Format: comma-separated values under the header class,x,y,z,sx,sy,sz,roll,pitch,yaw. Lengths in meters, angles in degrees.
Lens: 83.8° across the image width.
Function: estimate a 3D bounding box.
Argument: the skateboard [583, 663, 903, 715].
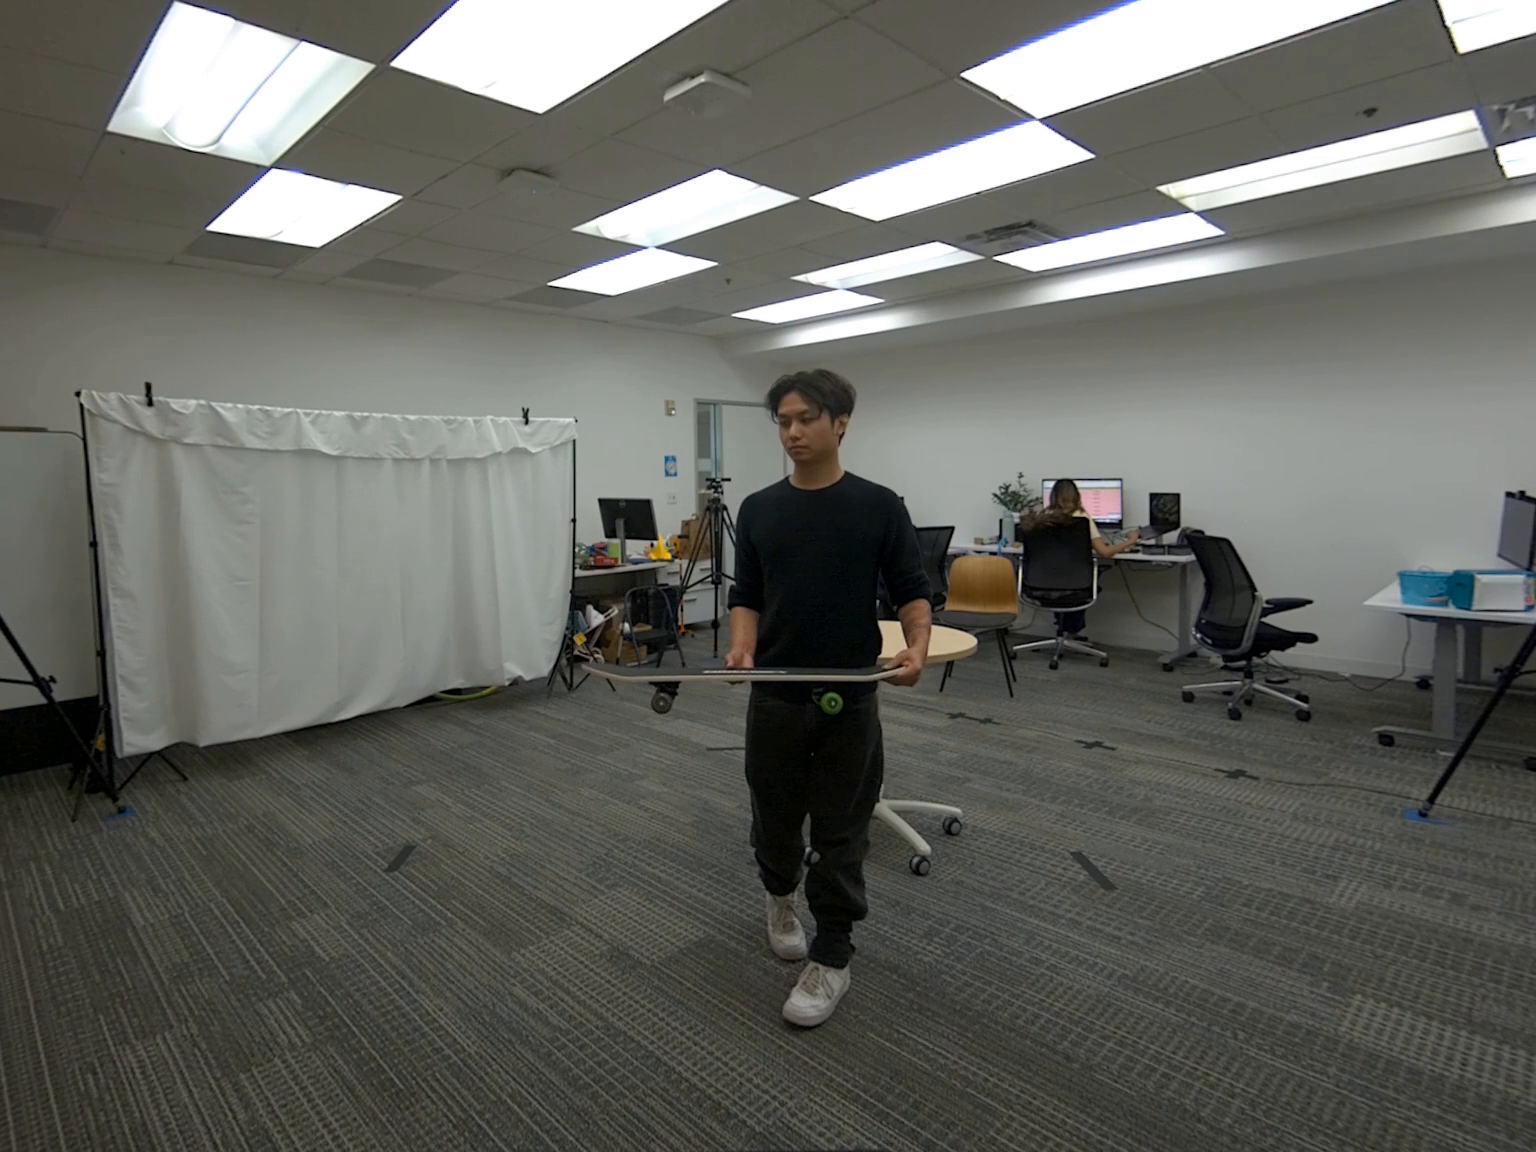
class,x,y,z,sx,sy,sz,roll,pitch,yaw
skateboard,-0.034,0.274,2.067,0.785,0.111,0.193,-1,-2,0
